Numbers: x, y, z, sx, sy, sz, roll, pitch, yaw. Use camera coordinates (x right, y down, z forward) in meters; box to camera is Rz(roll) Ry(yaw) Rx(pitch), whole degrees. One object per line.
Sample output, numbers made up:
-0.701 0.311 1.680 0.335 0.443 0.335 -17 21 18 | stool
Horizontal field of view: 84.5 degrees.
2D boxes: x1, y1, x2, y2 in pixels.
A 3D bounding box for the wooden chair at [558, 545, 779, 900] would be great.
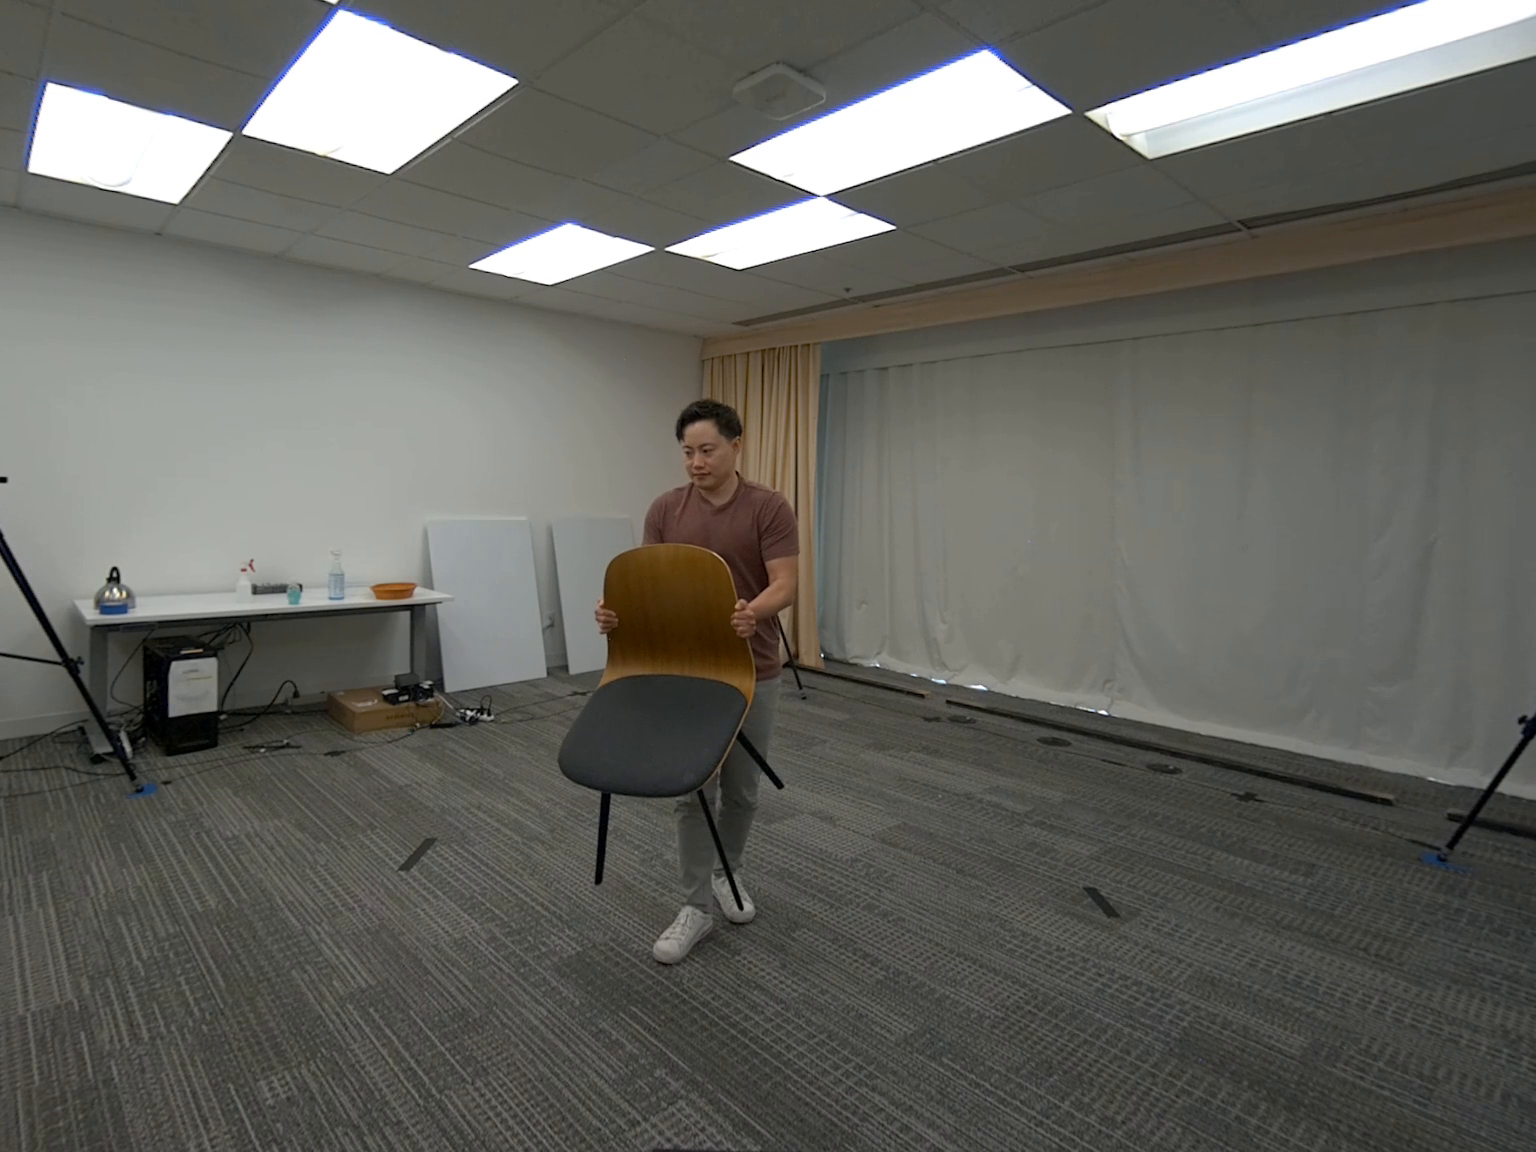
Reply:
-0.295 0.425 2.309 0.485 0.860 0.525 2 27 18 | wooden chair
